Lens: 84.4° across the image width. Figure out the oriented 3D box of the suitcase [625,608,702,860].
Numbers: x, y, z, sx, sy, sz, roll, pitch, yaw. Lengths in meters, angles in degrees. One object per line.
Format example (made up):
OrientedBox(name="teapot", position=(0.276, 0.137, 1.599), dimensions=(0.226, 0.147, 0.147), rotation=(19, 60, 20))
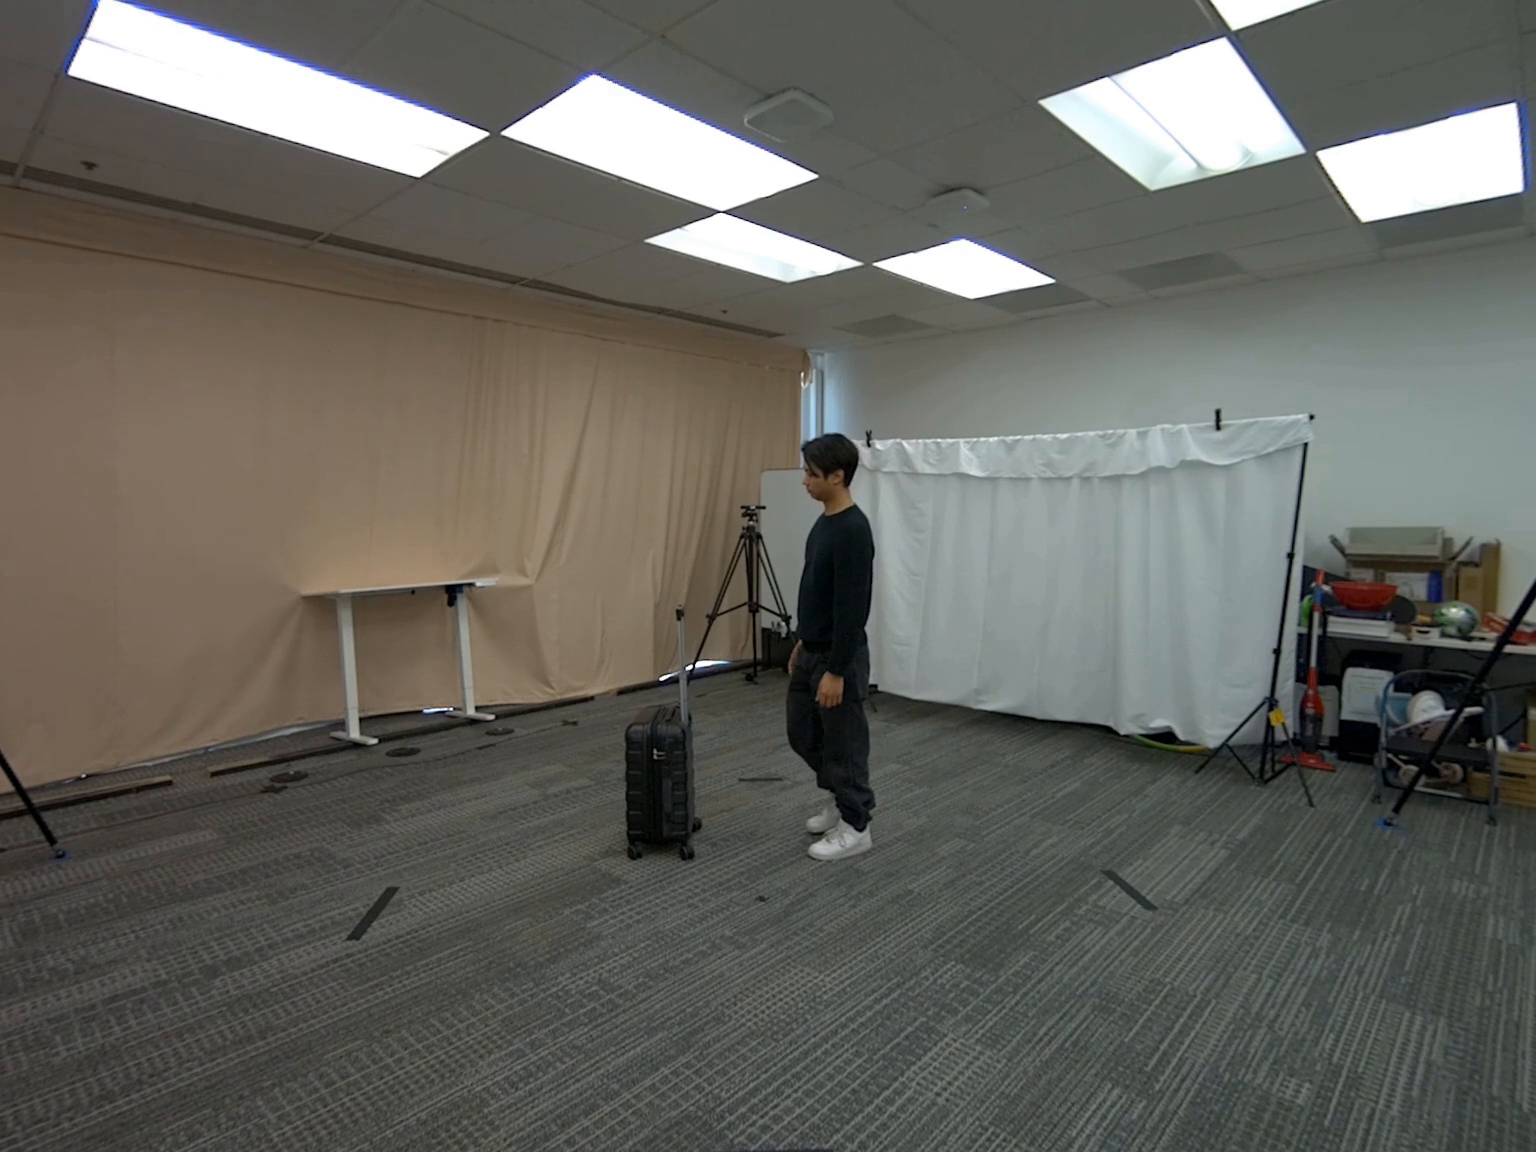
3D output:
OrientedBox(name="suitcase", position=(-0.445, 0.633, 3.477), dimensions=(0.258, 0.977, 0.383), rotation=(-3, 2, 2))
